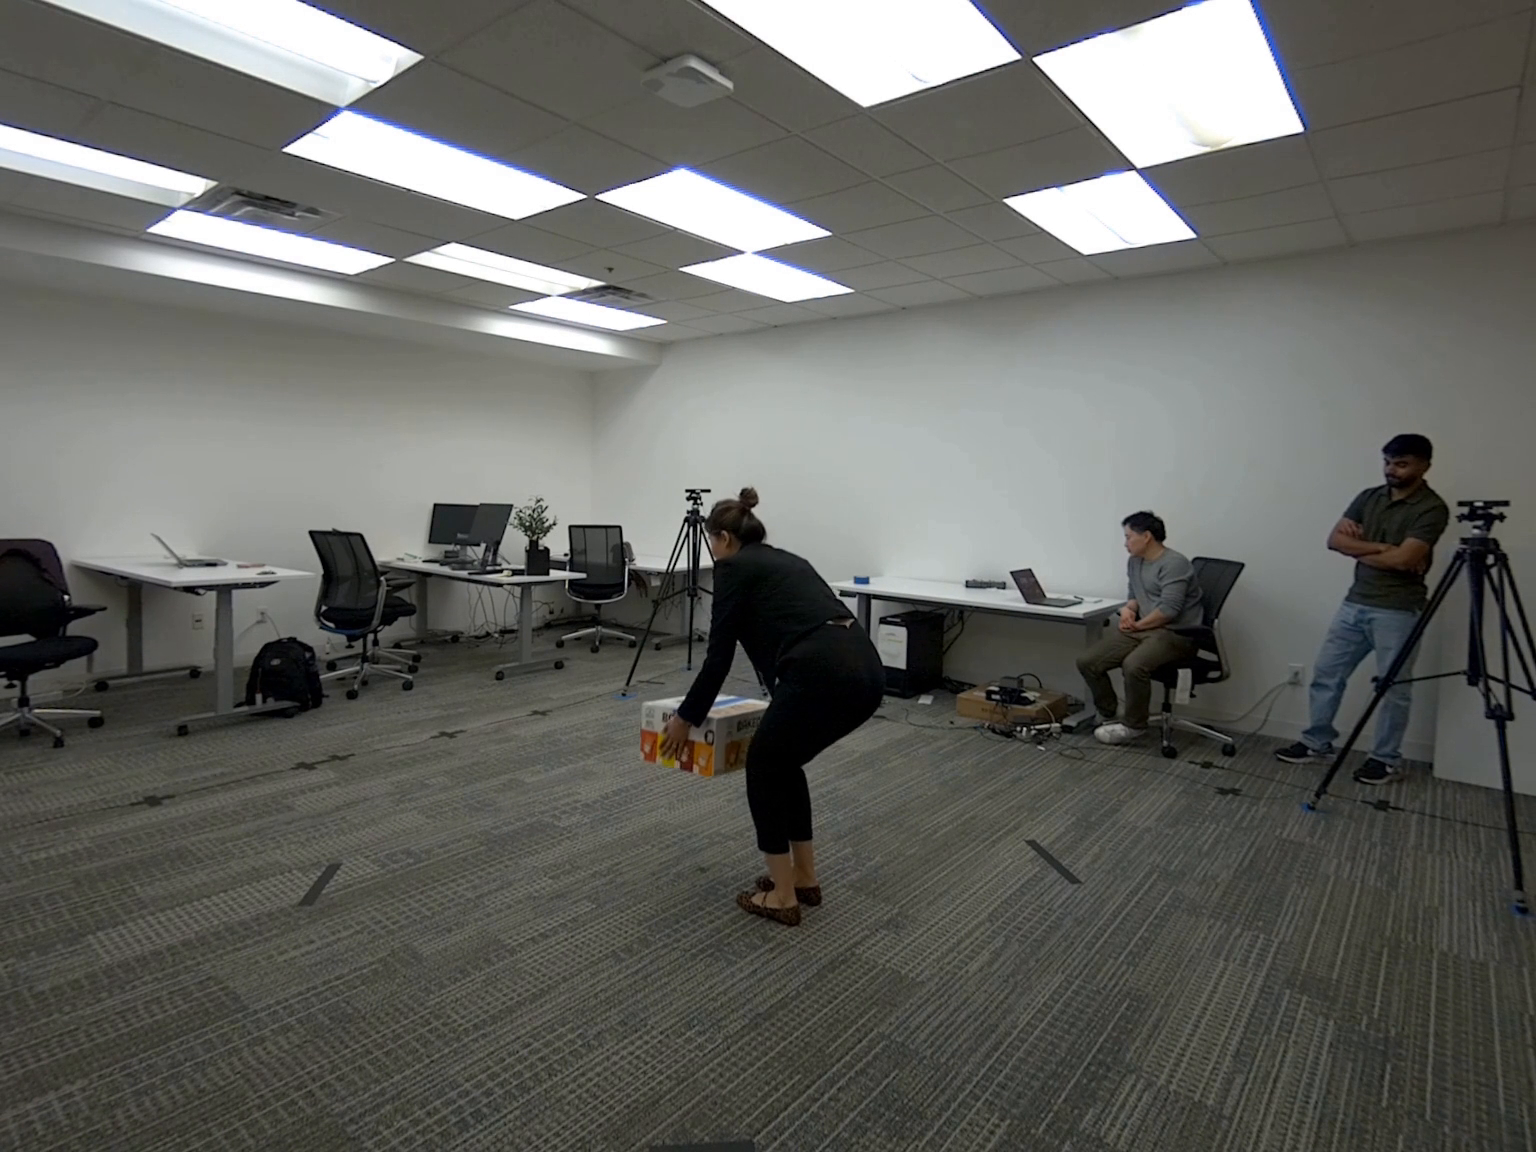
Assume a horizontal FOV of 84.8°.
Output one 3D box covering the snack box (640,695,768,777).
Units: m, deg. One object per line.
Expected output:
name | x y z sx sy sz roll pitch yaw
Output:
snack box | -0.215 0.558 3.106 0.351 0.206 0.392 4 1 35
